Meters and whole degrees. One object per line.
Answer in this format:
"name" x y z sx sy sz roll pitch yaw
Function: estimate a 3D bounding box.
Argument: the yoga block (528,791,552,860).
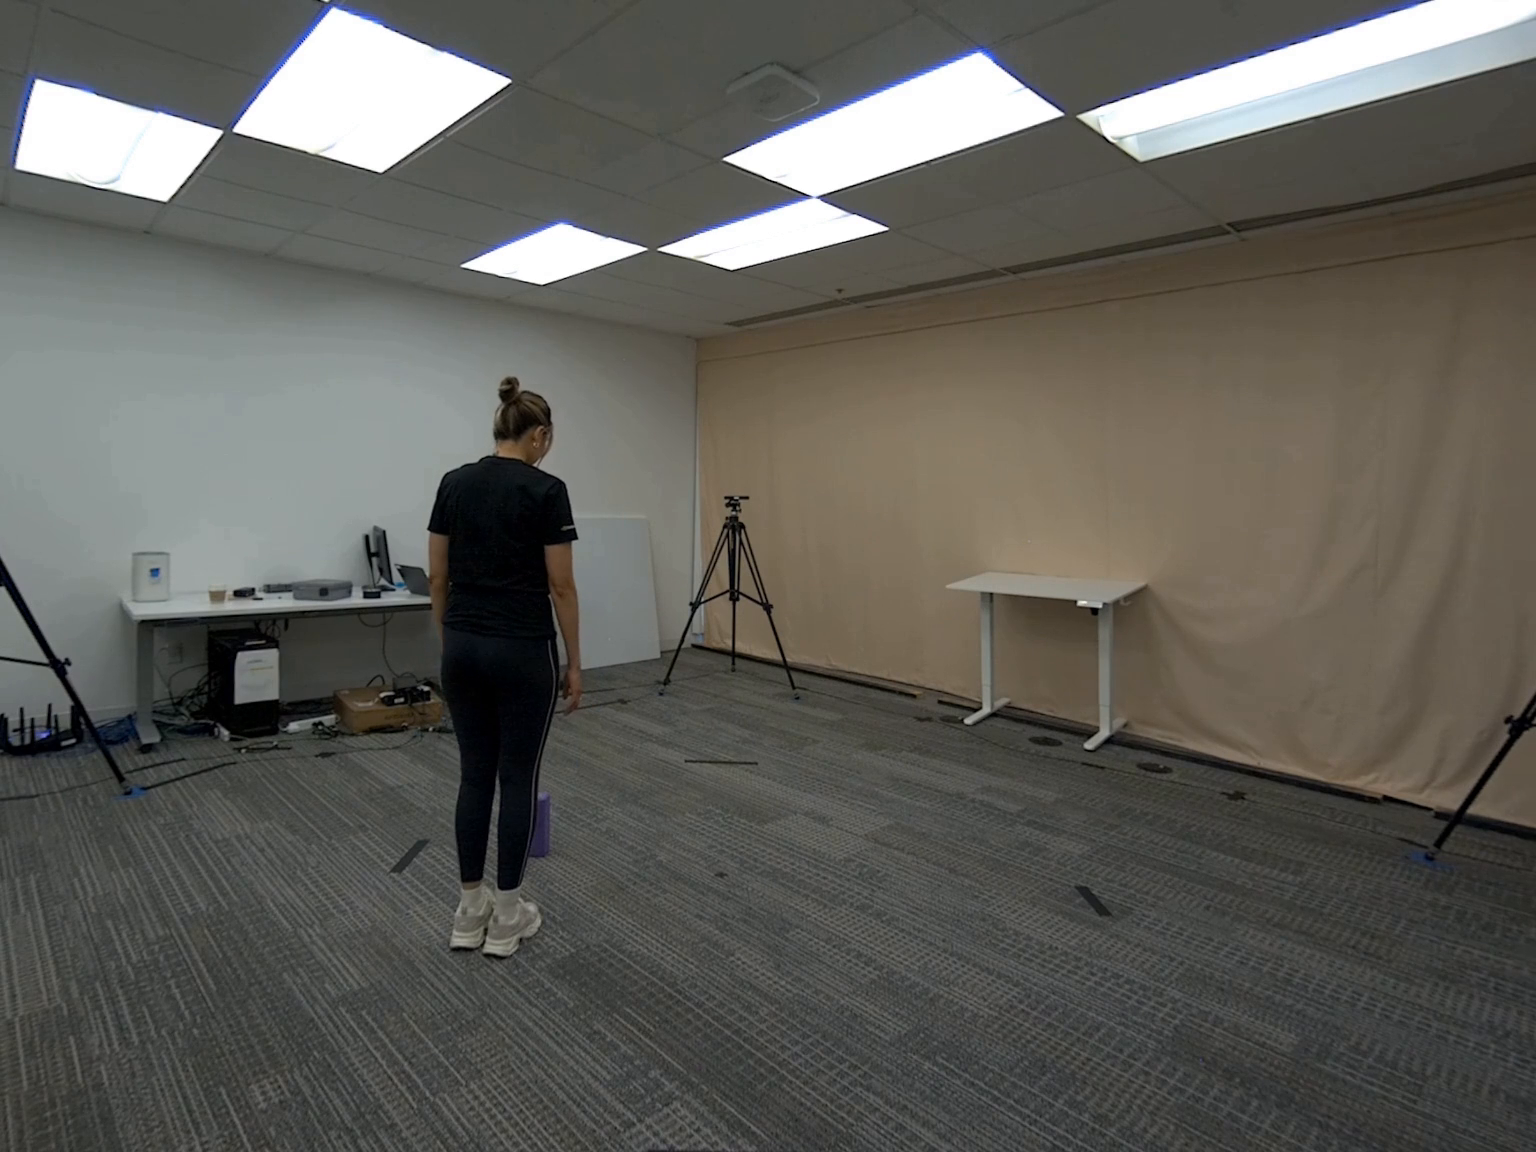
"yoga block" -0.930 0.958 3.249 0.150 0.228 0.076 2 4 8
